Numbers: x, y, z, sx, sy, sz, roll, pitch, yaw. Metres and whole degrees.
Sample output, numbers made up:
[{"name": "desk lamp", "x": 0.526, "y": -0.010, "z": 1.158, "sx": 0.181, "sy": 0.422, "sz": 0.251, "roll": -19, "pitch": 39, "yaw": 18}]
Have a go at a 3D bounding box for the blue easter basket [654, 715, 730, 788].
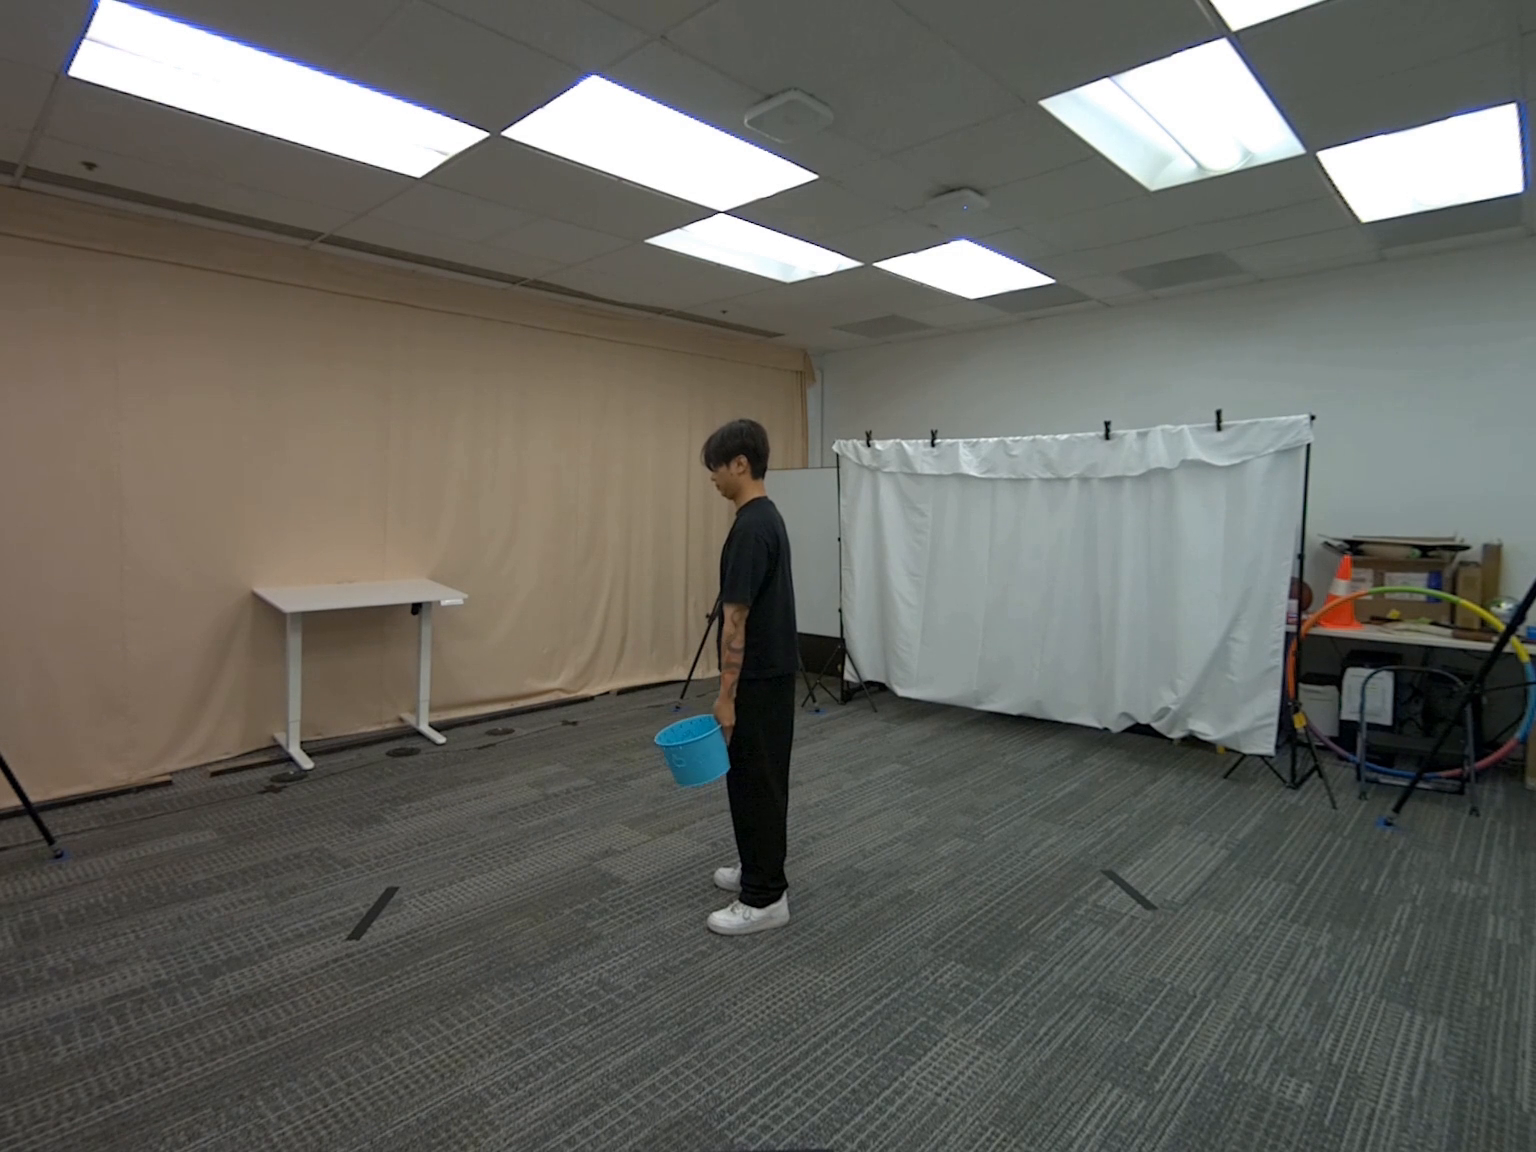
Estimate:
[{"name": "blue easter basket", "x": -0.223, "y": 0.549, "z": 2.672, "sx": 0.244, "sy": 0.155, "sz": 0.245, "roll": -15, "pitch": 8, "yaw": 0}]
